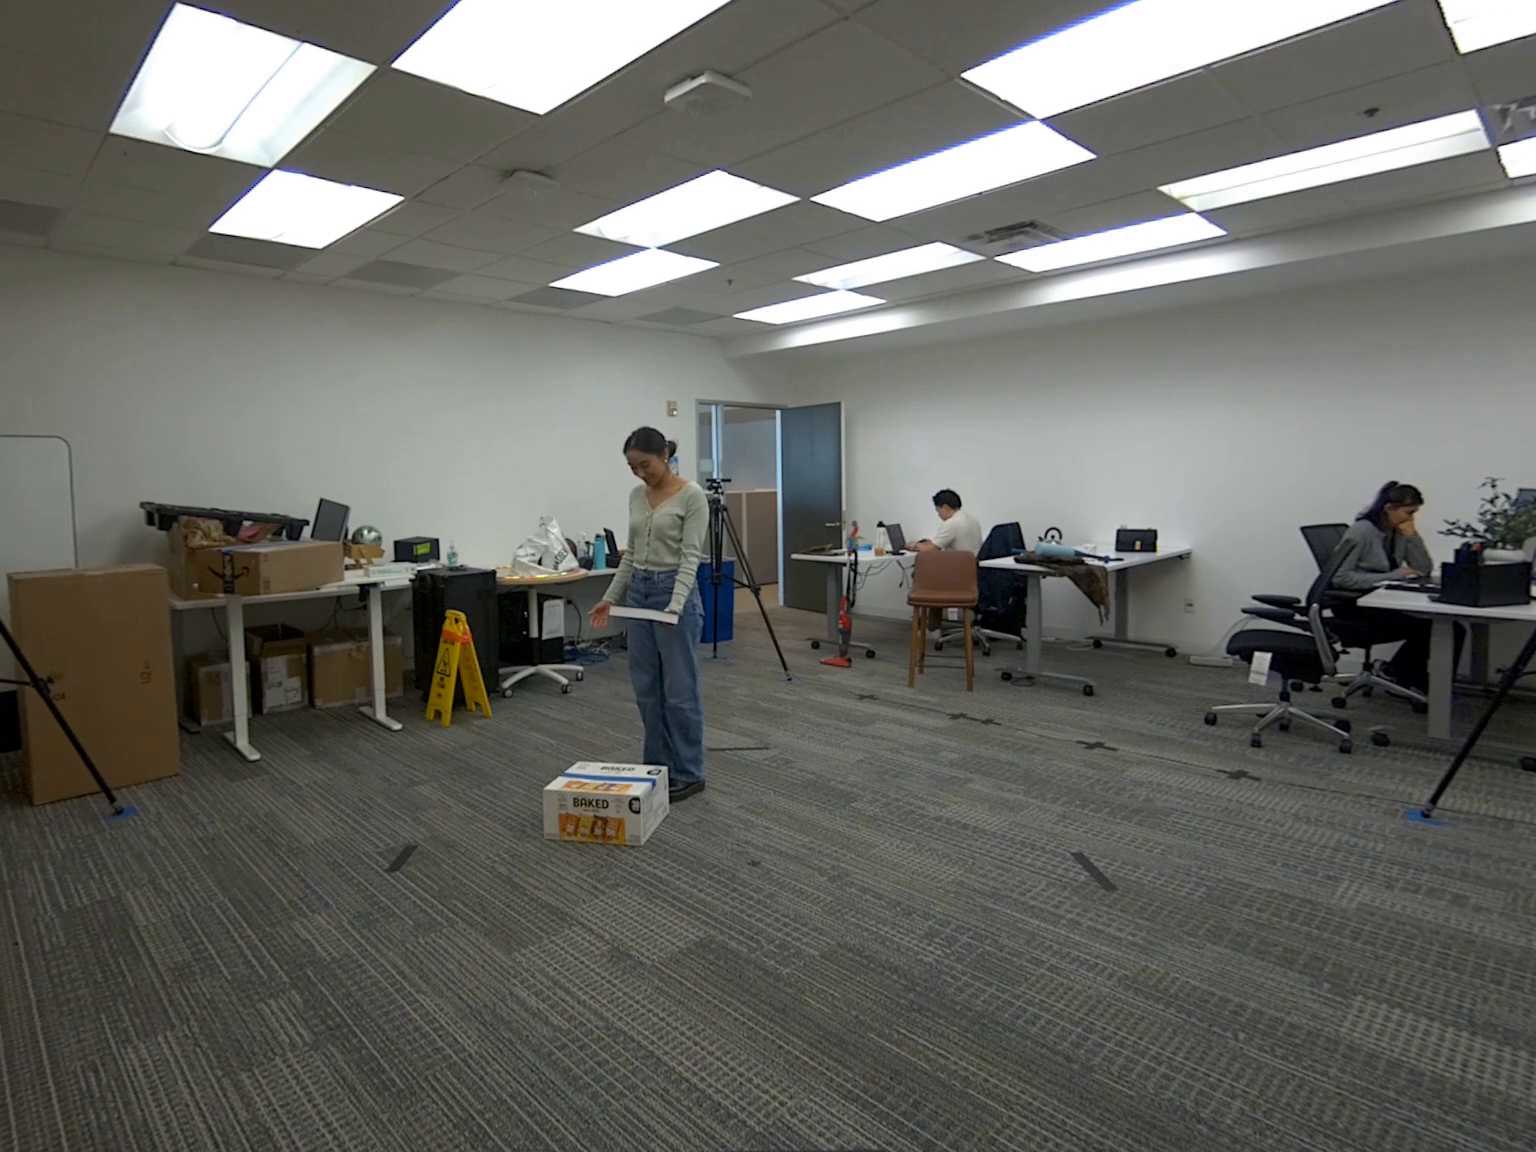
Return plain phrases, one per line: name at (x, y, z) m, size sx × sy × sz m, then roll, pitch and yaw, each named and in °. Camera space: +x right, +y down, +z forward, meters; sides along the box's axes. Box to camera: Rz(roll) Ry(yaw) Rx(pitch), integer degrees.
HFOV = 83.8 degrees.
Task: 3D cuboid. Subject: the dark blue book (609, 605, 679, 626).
dark blue book at (-0.512, 0.161, 3.455) m, size 0.252 × 0.045 × 0.158 m, roll 4°, pitch -8°, yaw 35°
